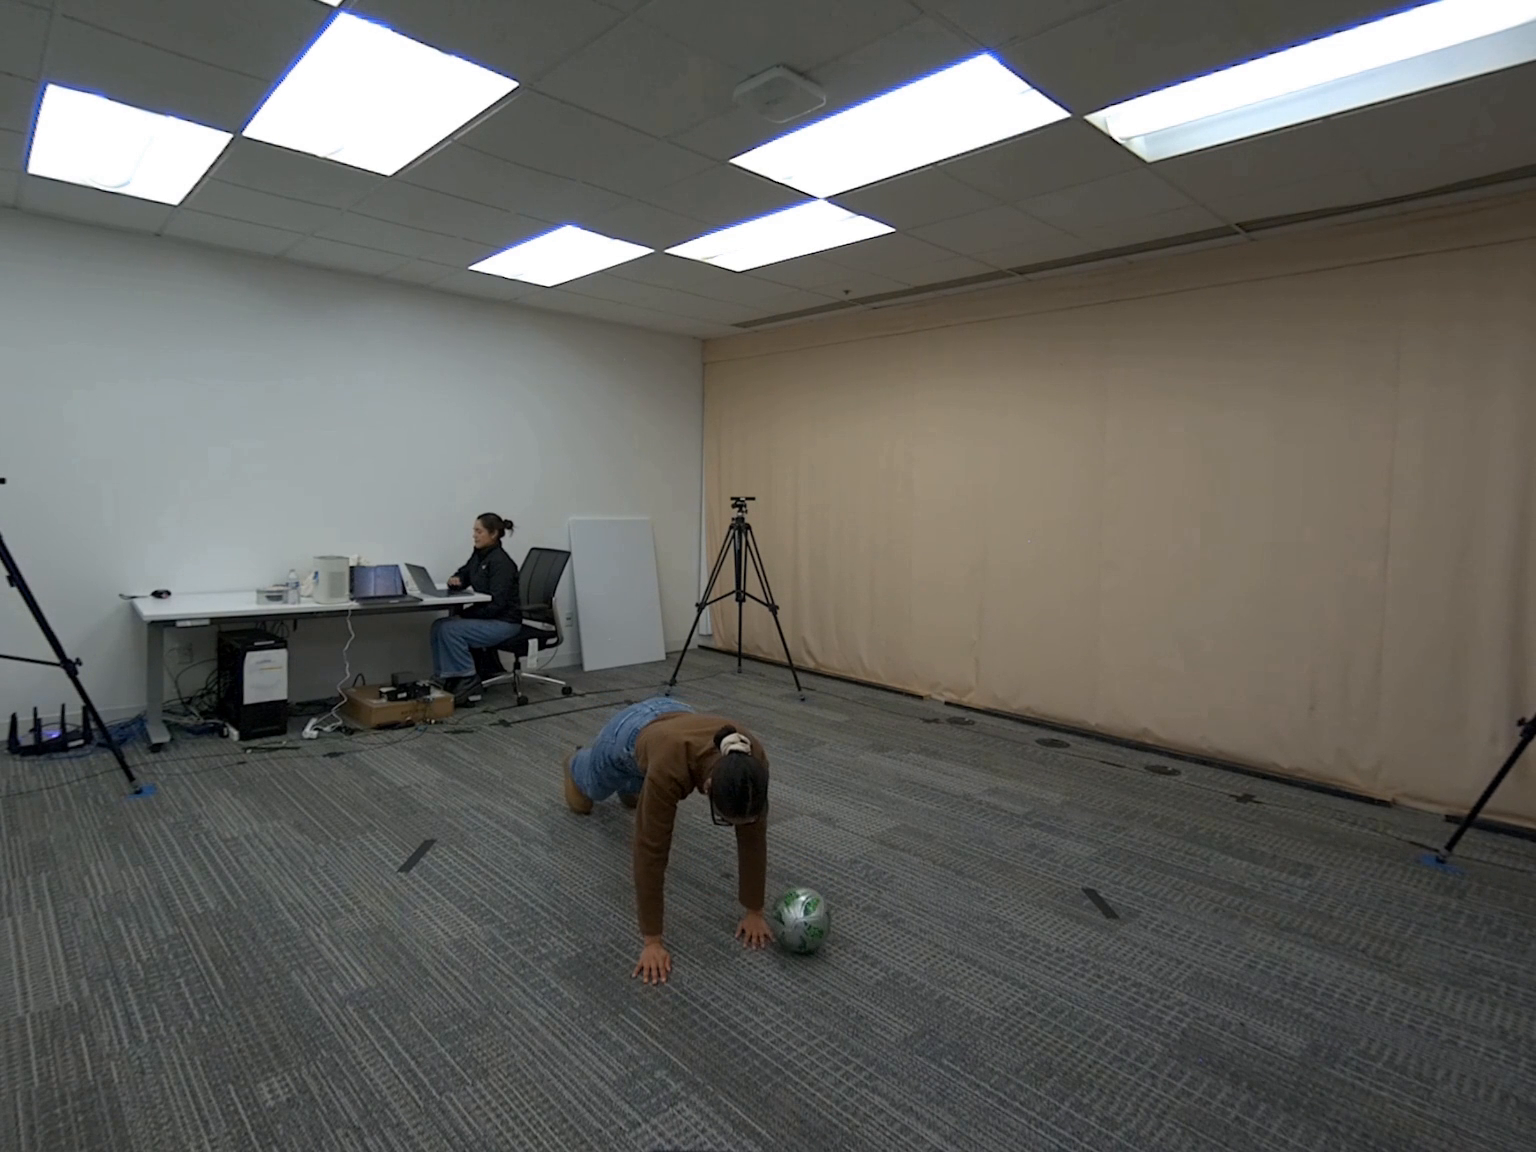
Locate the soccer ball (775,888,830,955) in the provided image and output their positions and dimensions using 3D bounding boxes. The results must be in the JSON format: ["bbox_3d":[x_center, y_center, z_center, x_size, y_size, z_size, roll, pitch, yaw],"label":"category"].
[{"bbox_3d":[0.101,1.066,2.603,0.187,0.187,0.188,1,4,-1],"label":"soccer ball"}]
